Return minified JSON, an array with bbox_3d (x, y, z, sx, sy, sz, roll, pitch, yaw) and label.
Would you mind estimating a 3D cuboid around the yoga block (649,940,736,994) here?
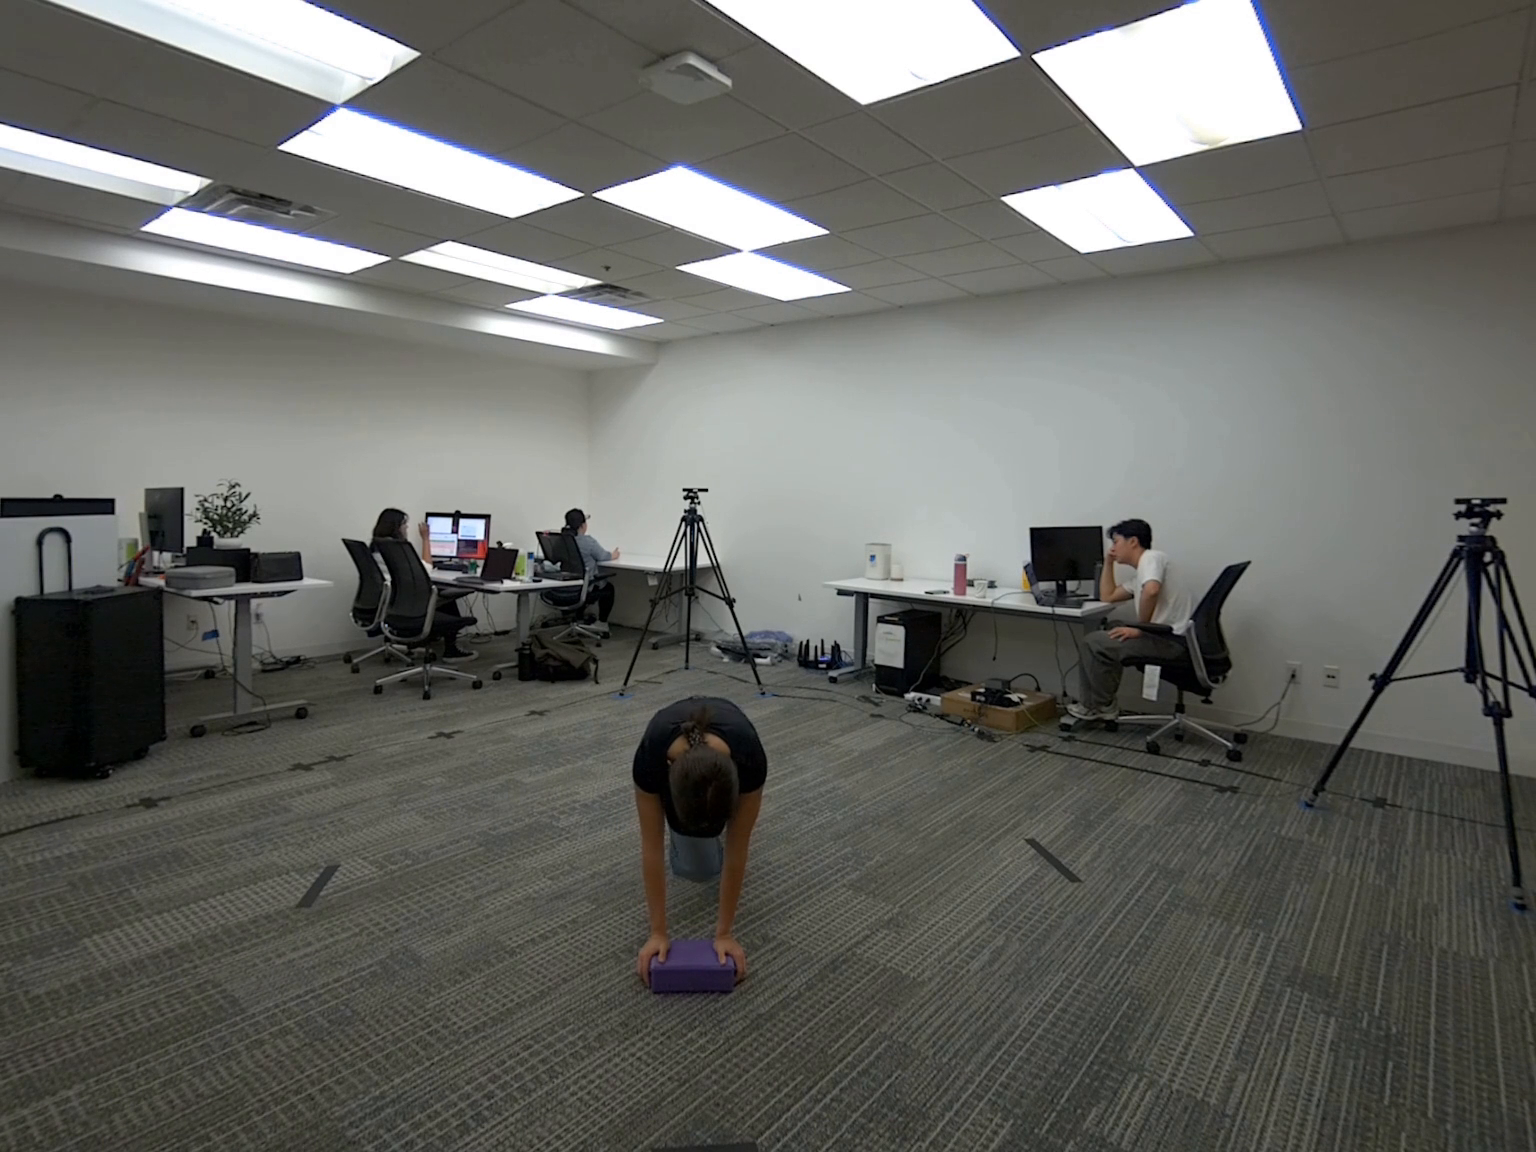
[{"bbox_3d":[-0.215,1.098,2.409,0.228,0.076,0.150,2,3,-4],"label":"yoga block"}]
